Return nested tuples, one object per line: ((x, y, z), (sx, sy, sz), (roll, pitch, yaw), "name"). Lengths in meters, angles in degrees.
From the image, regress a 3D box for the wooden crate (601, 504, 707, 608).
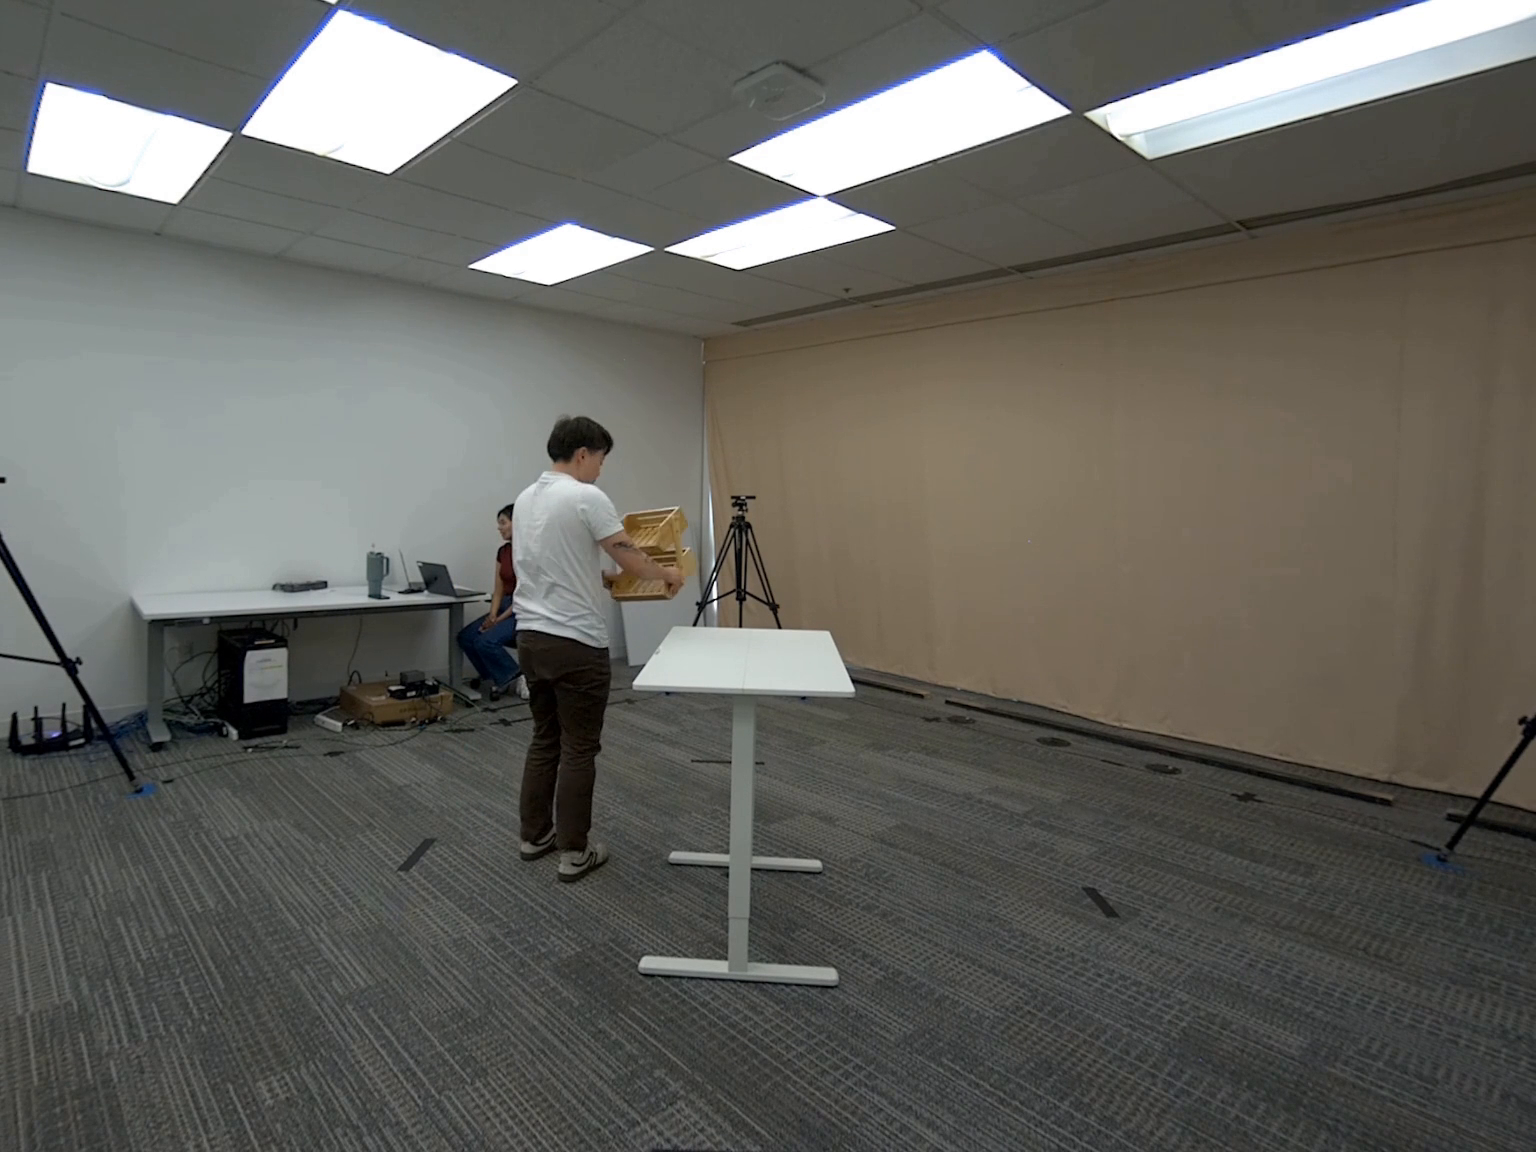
((-0.506, -0.078, 3.437), (0.331, 0.267, 0.303), (-4, 34, 37), "wooden crate")
